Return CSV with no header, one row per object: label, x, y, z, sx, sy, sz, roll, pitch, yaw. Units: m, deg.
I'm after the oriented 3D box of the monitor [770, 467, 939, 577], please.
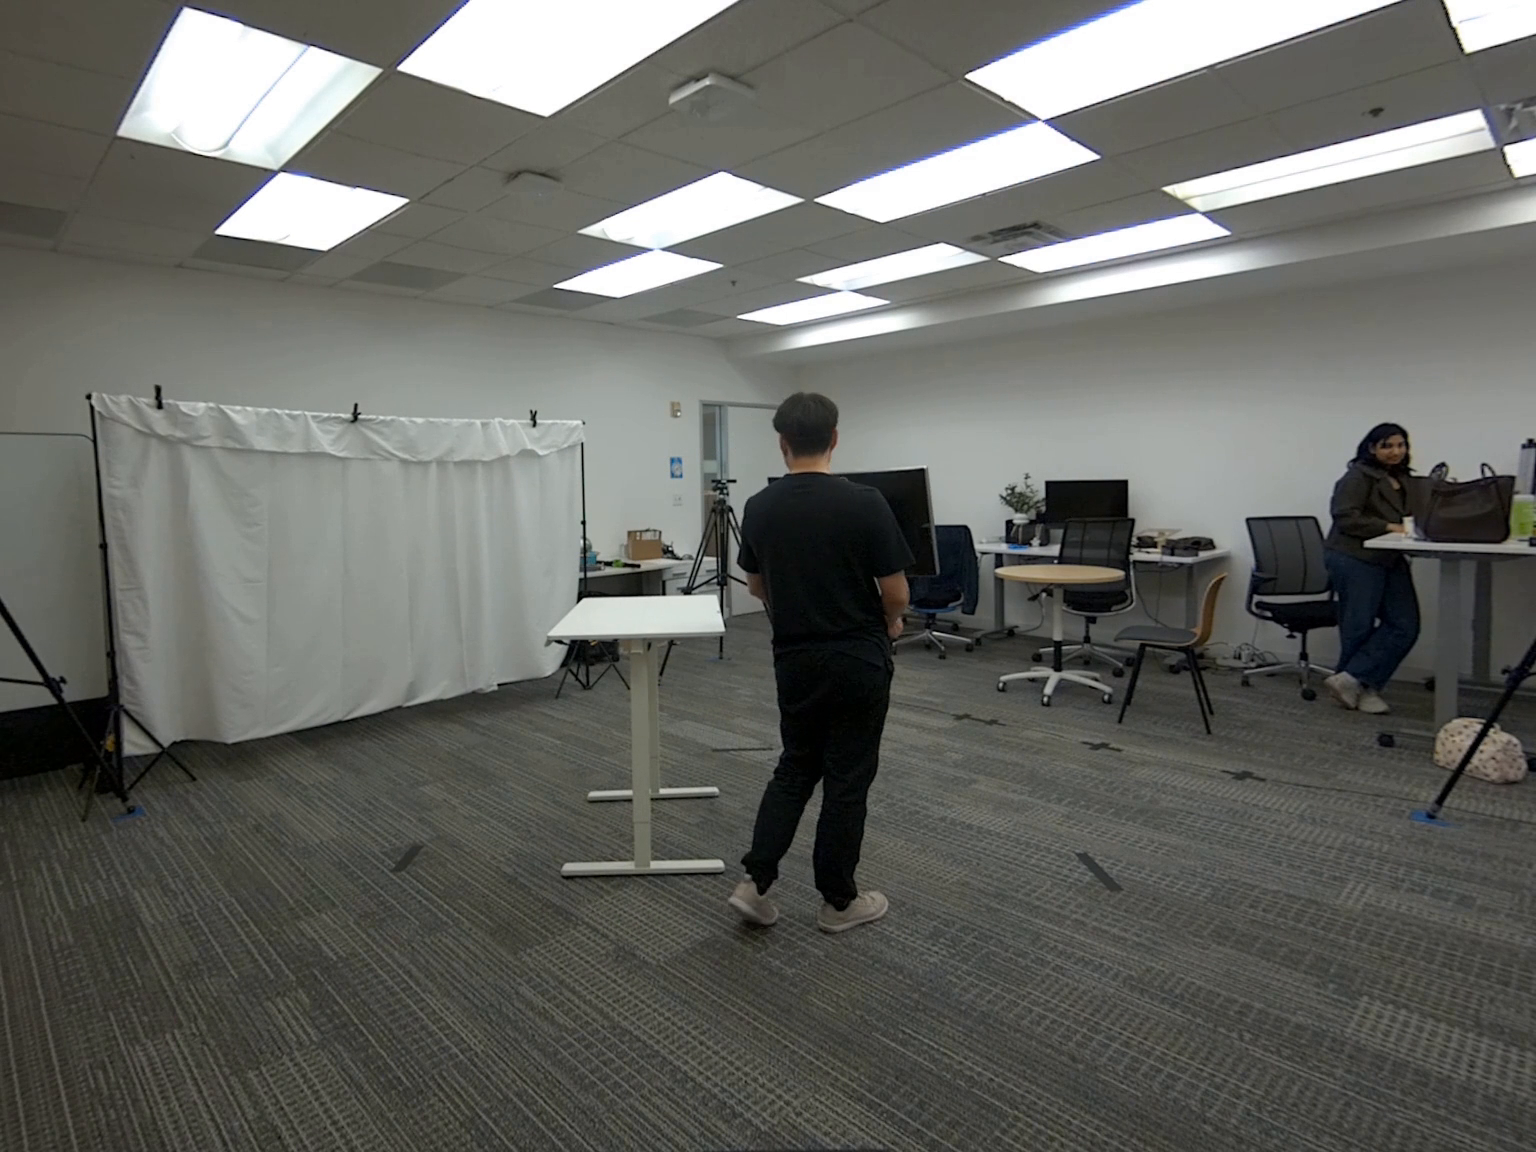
monitor,0.271,-0.084,2.833,0.552,0.520,0.183,-1,5,29
